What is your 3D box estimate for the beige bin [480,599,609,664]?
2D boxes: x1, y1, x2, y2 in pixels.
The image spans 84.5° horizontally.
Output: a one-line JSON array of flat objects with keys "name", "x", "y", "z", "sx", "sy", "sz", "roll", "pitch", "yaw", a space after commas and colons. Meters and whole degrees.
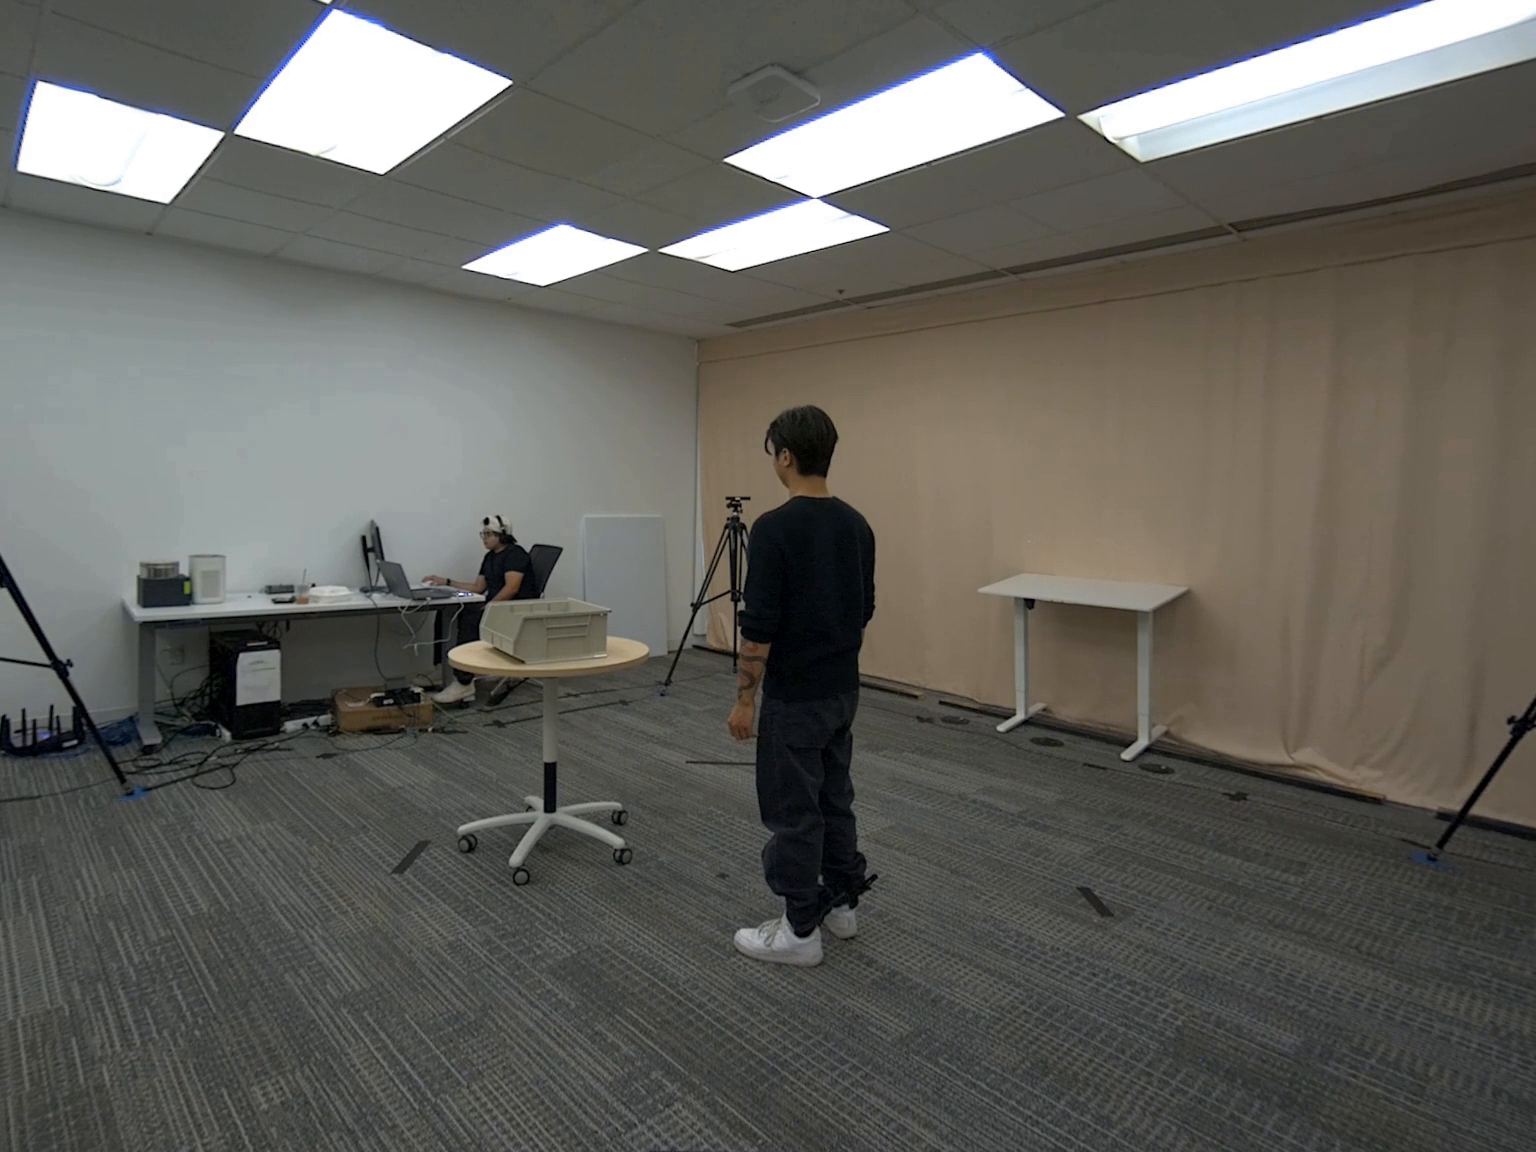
[{"name": "beige bin", "x": -0.867, "y": 0.205, "z": 3.235, "sx": 0.369, "sy": 0.188, "sz": 0.432, "roll": -1, "pitch": 5, "yaw": -35}]
